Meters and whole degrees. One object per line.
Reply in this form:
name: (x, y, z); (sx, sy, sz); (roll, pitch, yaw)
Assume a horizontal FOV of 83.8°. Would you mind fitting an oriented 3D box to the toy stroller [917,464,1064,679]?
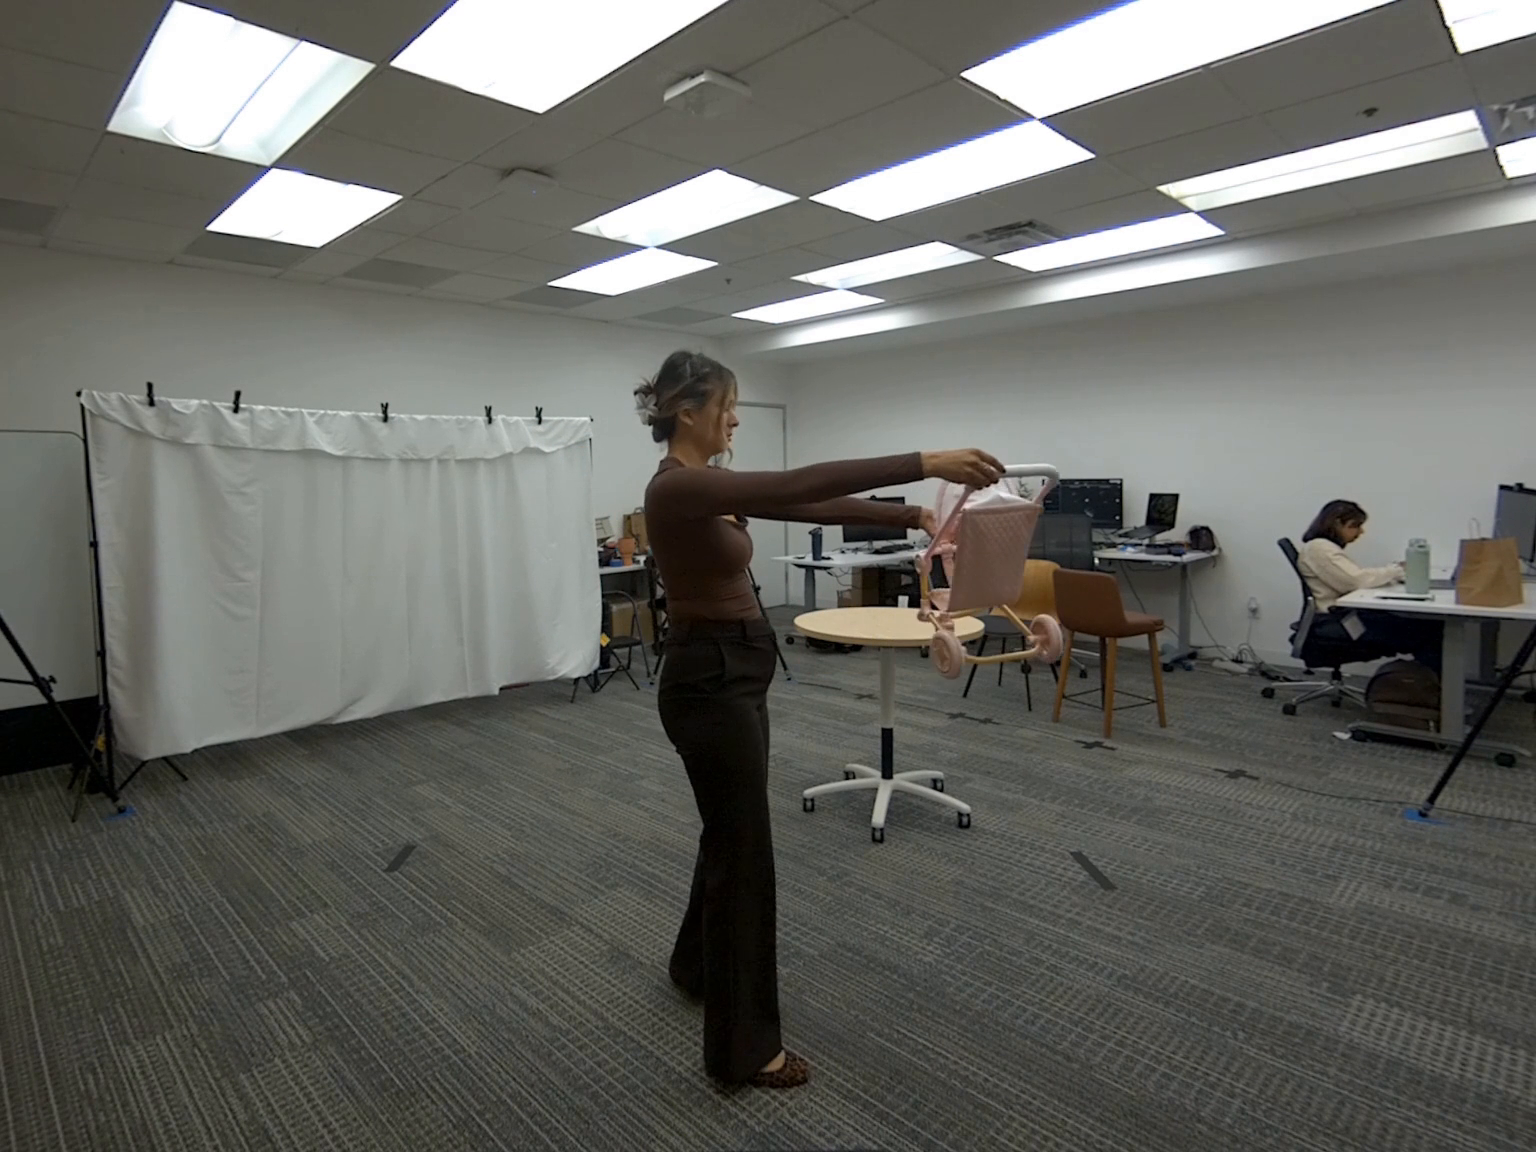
toy stroller: (0.478, -0.021, 1.967); (0.279, 0.527, 0.350); (-5, 18, -11)
